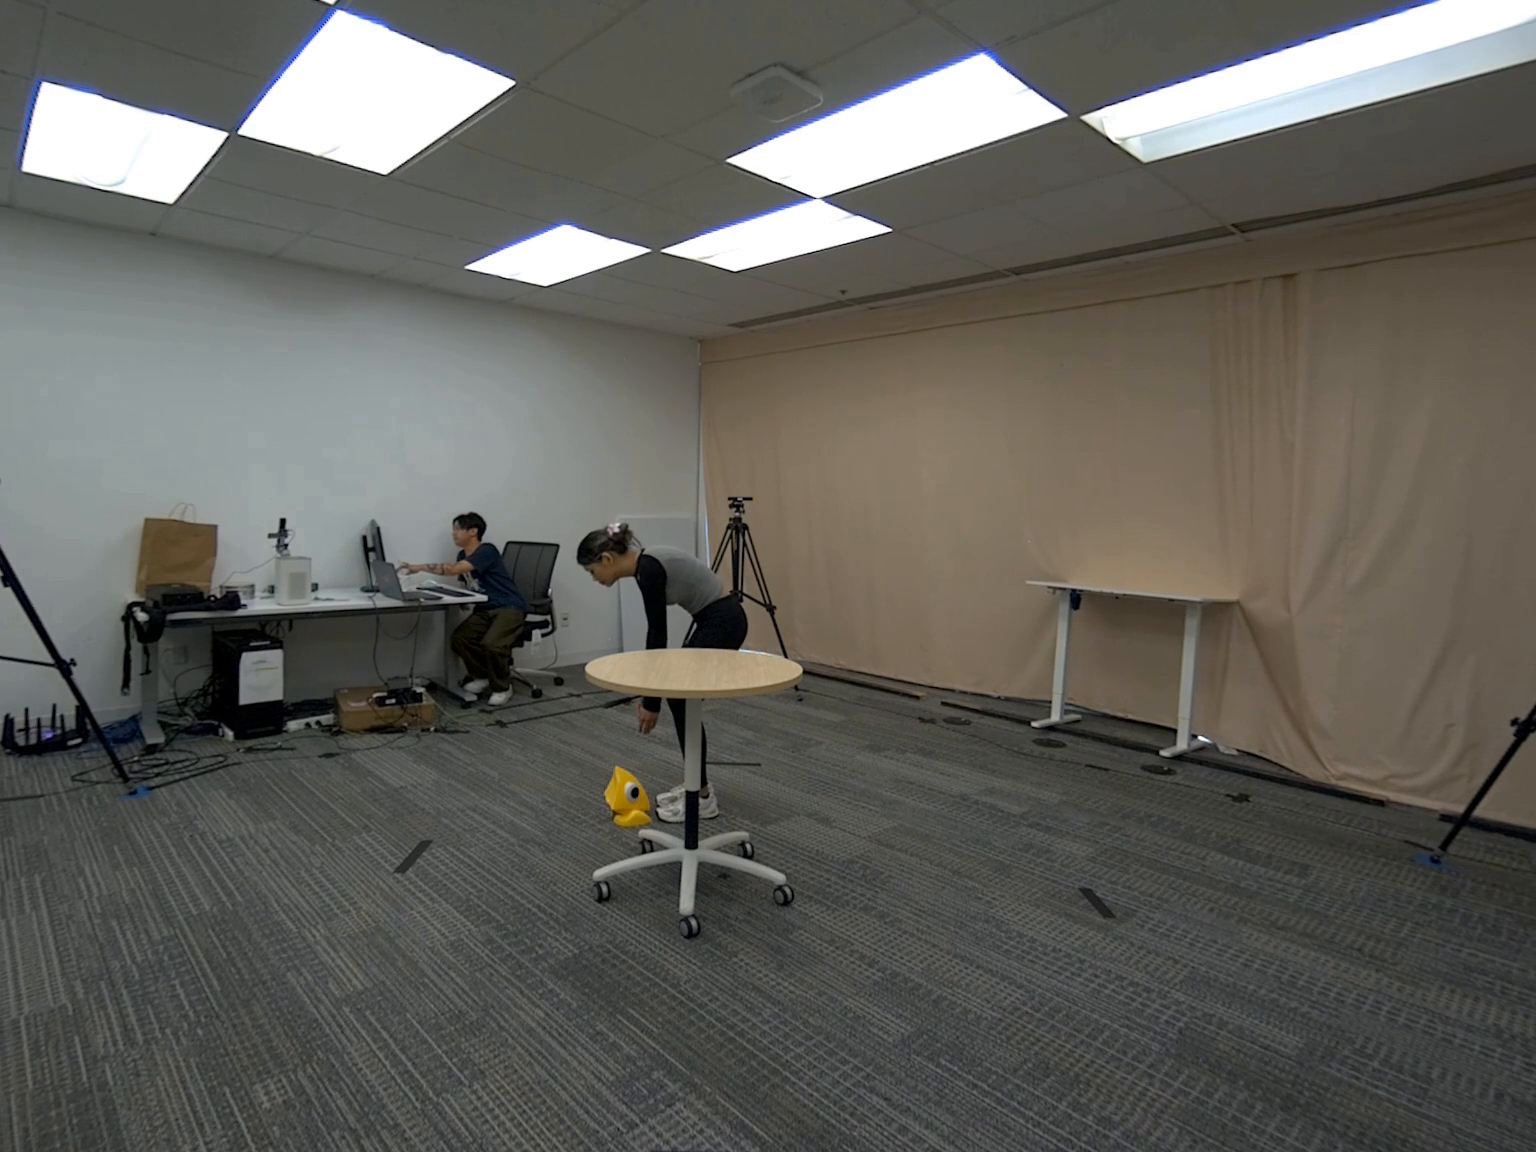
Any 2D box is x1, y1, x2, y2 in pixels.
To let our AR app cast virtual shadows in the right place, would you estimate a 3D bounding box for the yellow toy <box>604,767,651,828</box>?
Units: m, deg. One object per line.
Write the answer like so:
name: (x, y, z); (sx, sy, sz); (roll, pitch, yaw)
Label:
yellow toy: (-0.611, 0.938, 3.651); (0.190, 0.230, 0.208); (0, 3, -20)
